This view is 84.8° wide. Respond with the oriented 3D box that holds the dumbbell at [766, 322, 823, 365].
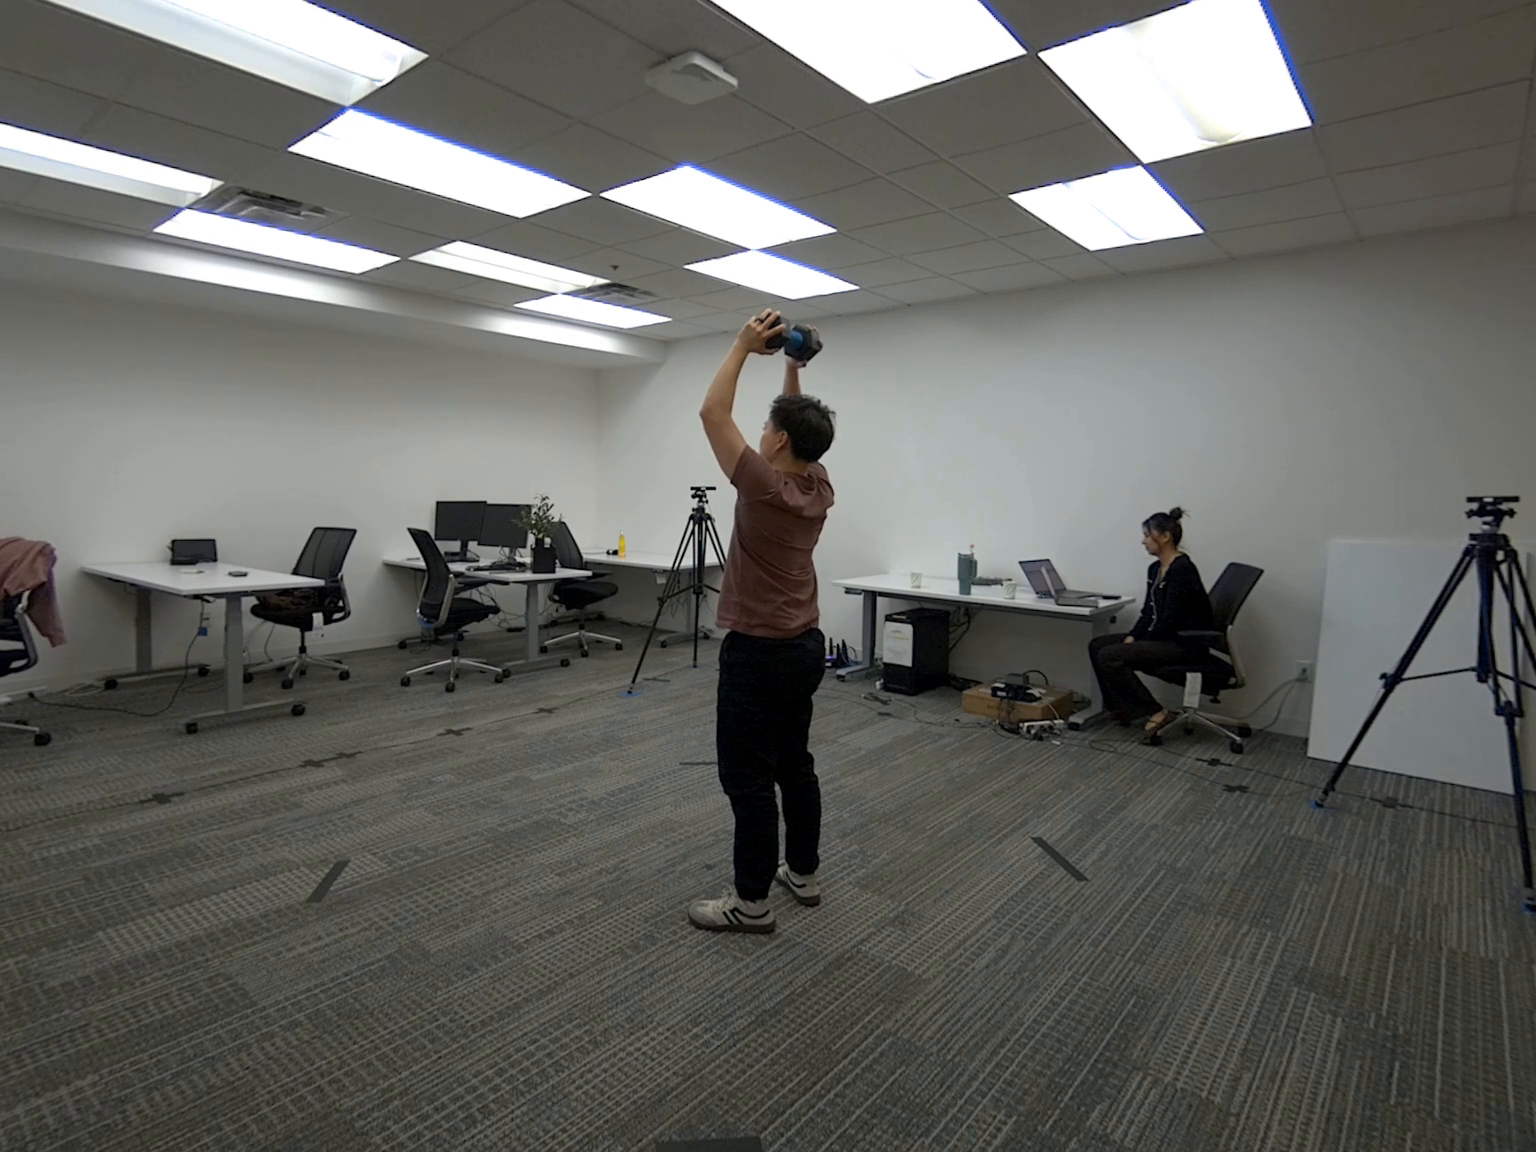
[{"bbox_3d":[0.045,-0.769,2.753,0.123,0.111,0.285,-40,-18,27],"label":"dumbbell"}]
